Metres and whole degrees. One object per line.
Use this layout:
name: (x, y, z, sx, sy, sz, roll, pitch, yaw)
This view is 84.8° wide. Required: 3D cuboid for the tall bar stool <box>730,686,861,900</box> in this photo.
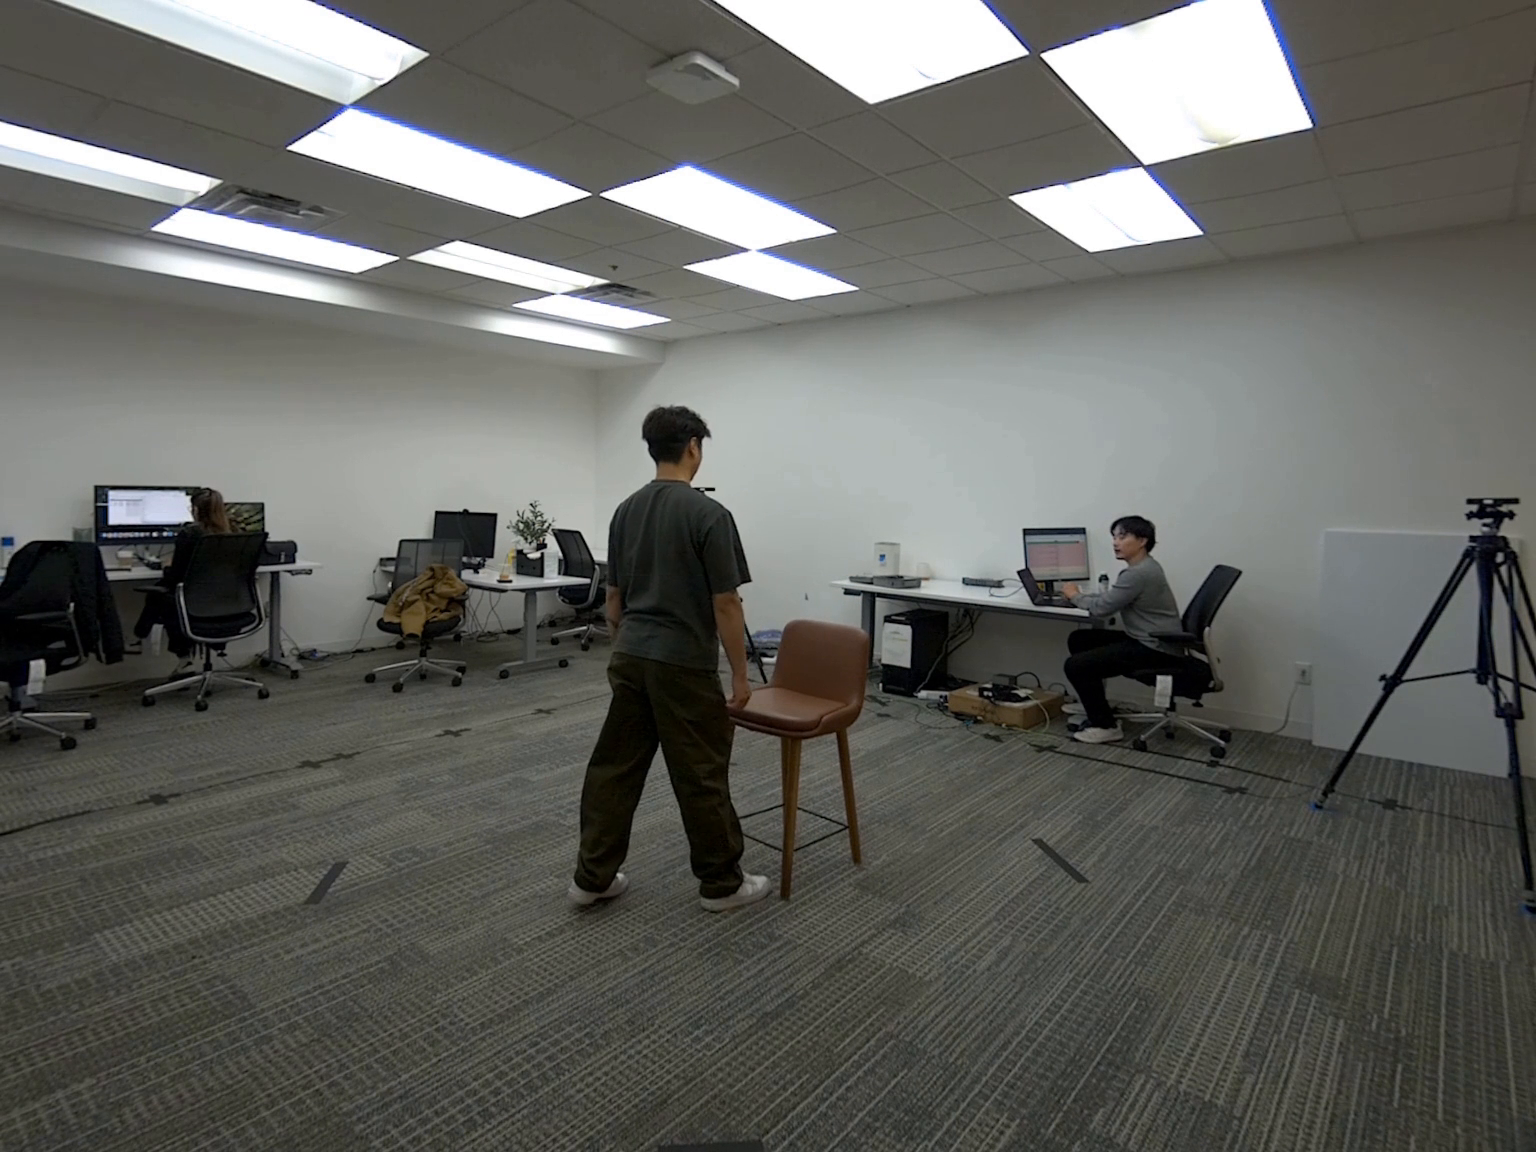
tall bar stool: (0.061, 0.628, 3.152, 0.453, 0.889, 0.472, 0, 2, -45)
